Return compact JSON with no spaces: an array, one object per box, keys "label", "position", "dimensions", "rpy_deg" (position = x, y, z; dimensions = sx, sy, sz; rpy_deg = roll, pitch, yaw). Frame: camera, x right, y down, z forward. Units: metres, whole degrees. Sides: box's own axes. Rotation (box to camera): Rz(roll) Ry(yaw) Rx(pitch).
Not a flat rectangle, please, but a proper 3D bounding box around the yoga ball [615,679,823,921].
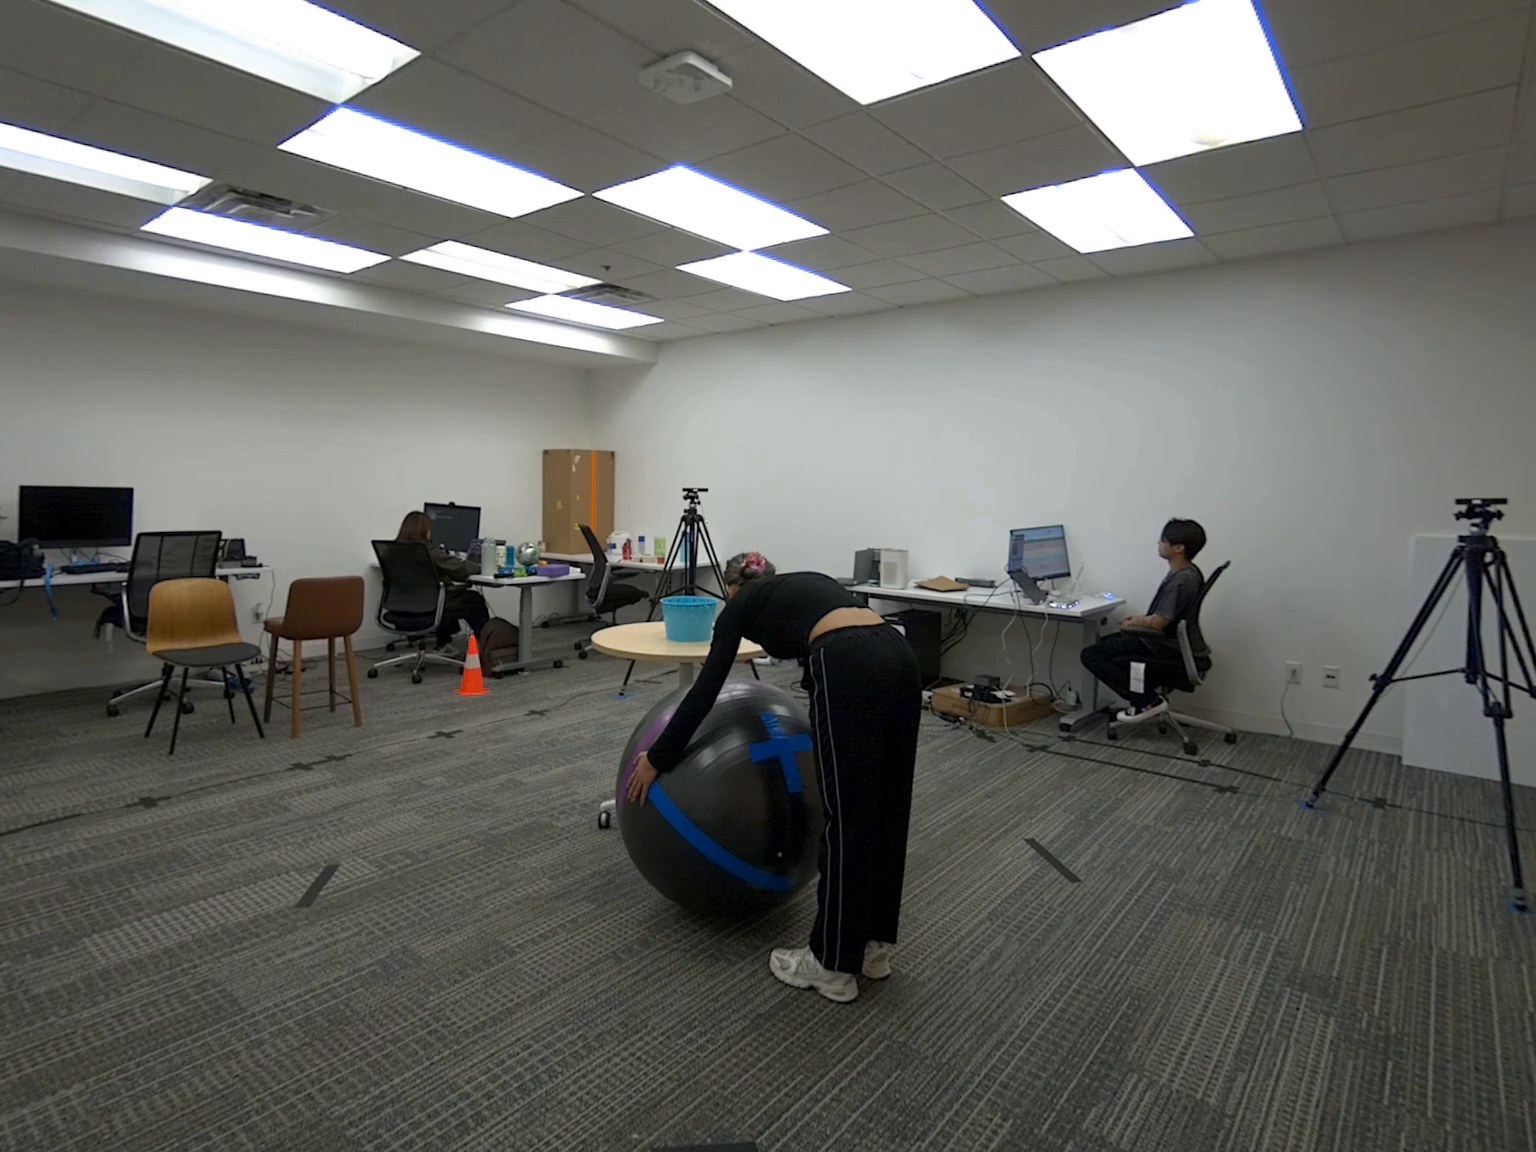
[{"label":"yoga ball","position":[-0.133,0.725,2.824],"dimensions":[0.757,0.756,0.762],"rpy_deg":[1,4,-2]}]
